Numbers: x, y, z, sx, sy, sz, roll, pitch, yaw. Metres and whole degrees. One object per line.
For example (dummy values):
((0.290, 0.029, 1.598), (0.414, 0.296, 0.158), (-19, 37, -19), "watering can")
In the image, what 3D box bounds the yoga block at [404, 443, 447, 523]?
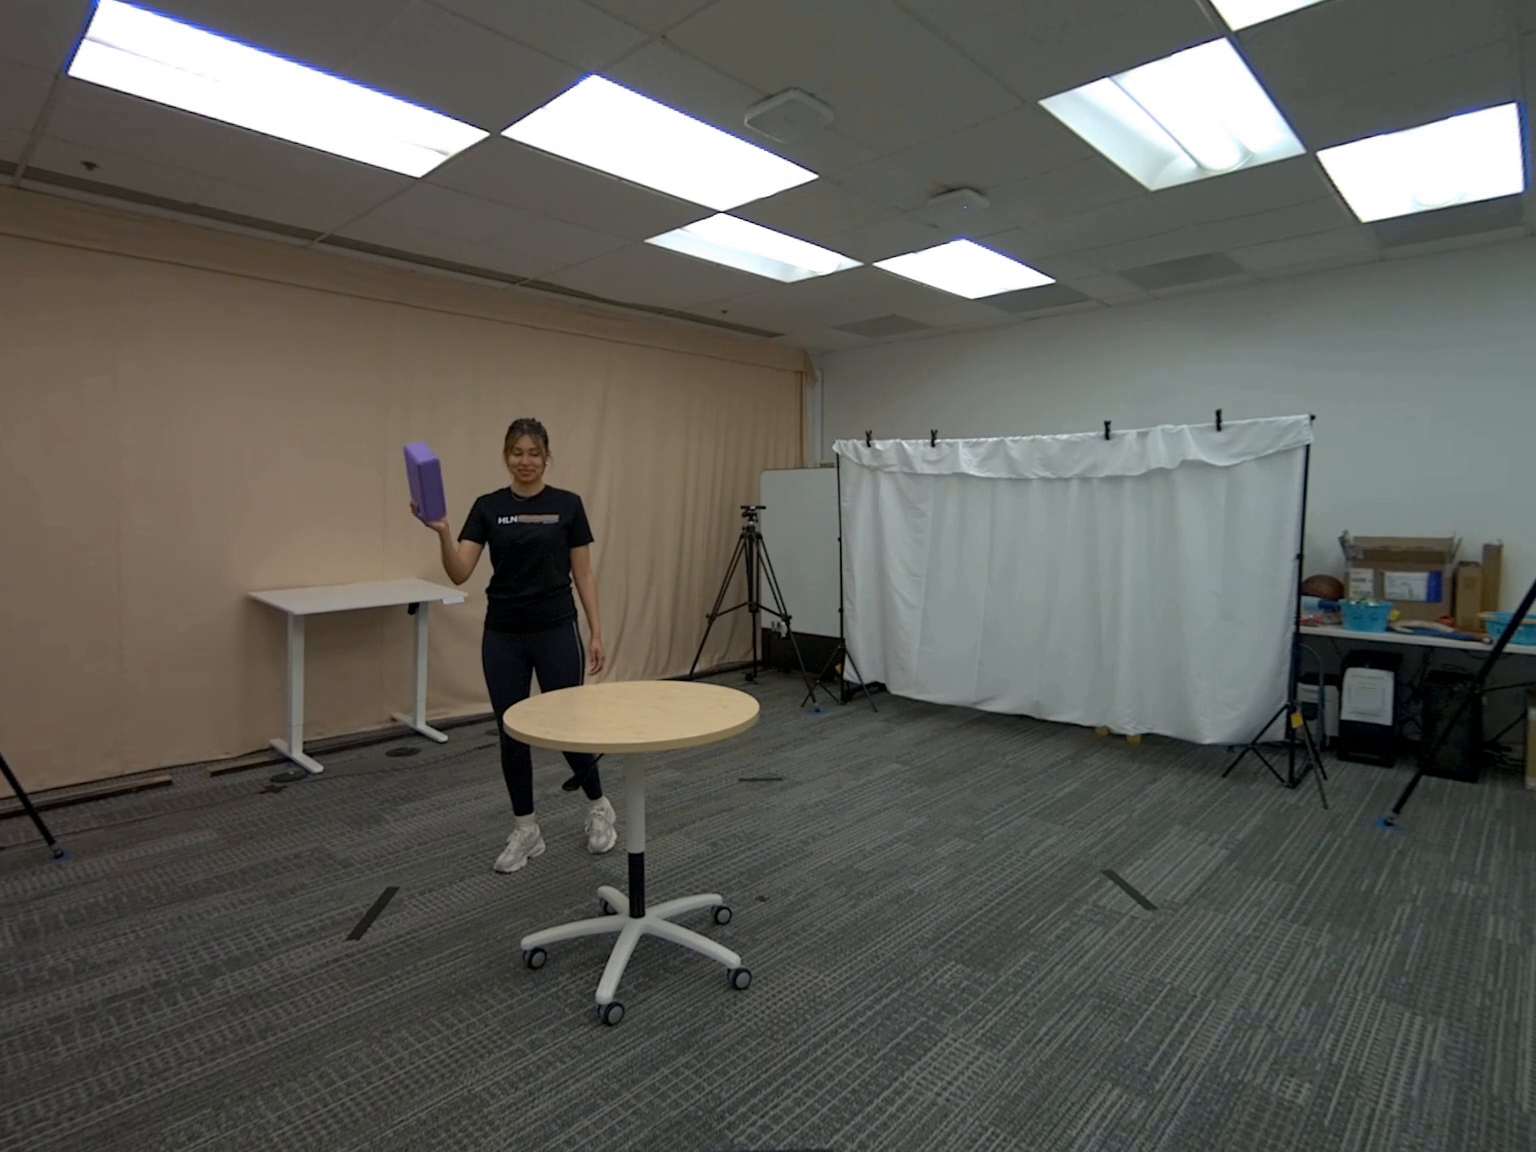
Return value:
((-1.158, -0.321, 2.851), (0.075, 0.226, 0.154), (-20, 42, -34), "yoga block")
